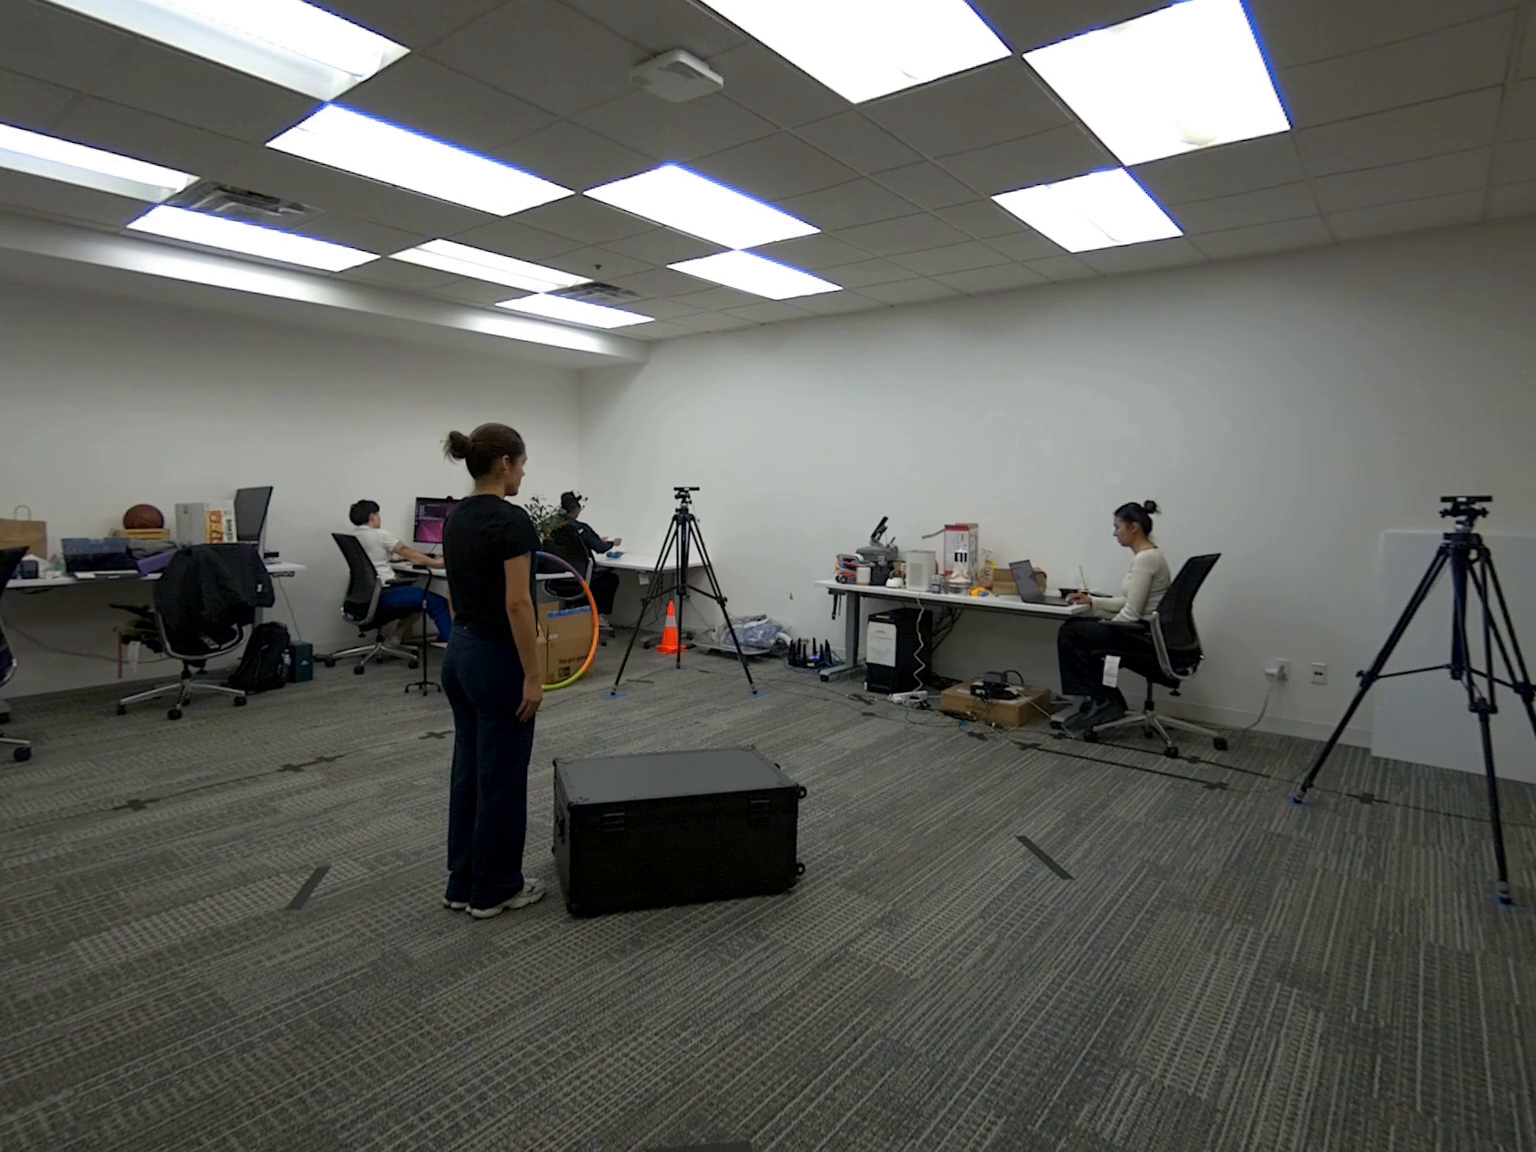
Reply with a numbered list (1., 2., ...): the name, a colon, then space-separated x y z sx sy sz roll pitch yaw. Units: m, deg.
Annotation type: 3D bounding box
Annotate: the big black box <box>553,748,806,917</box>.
1. big black box: -0.301 0.875 3.060 0.847 0.395 0.532 -1 5 -17
